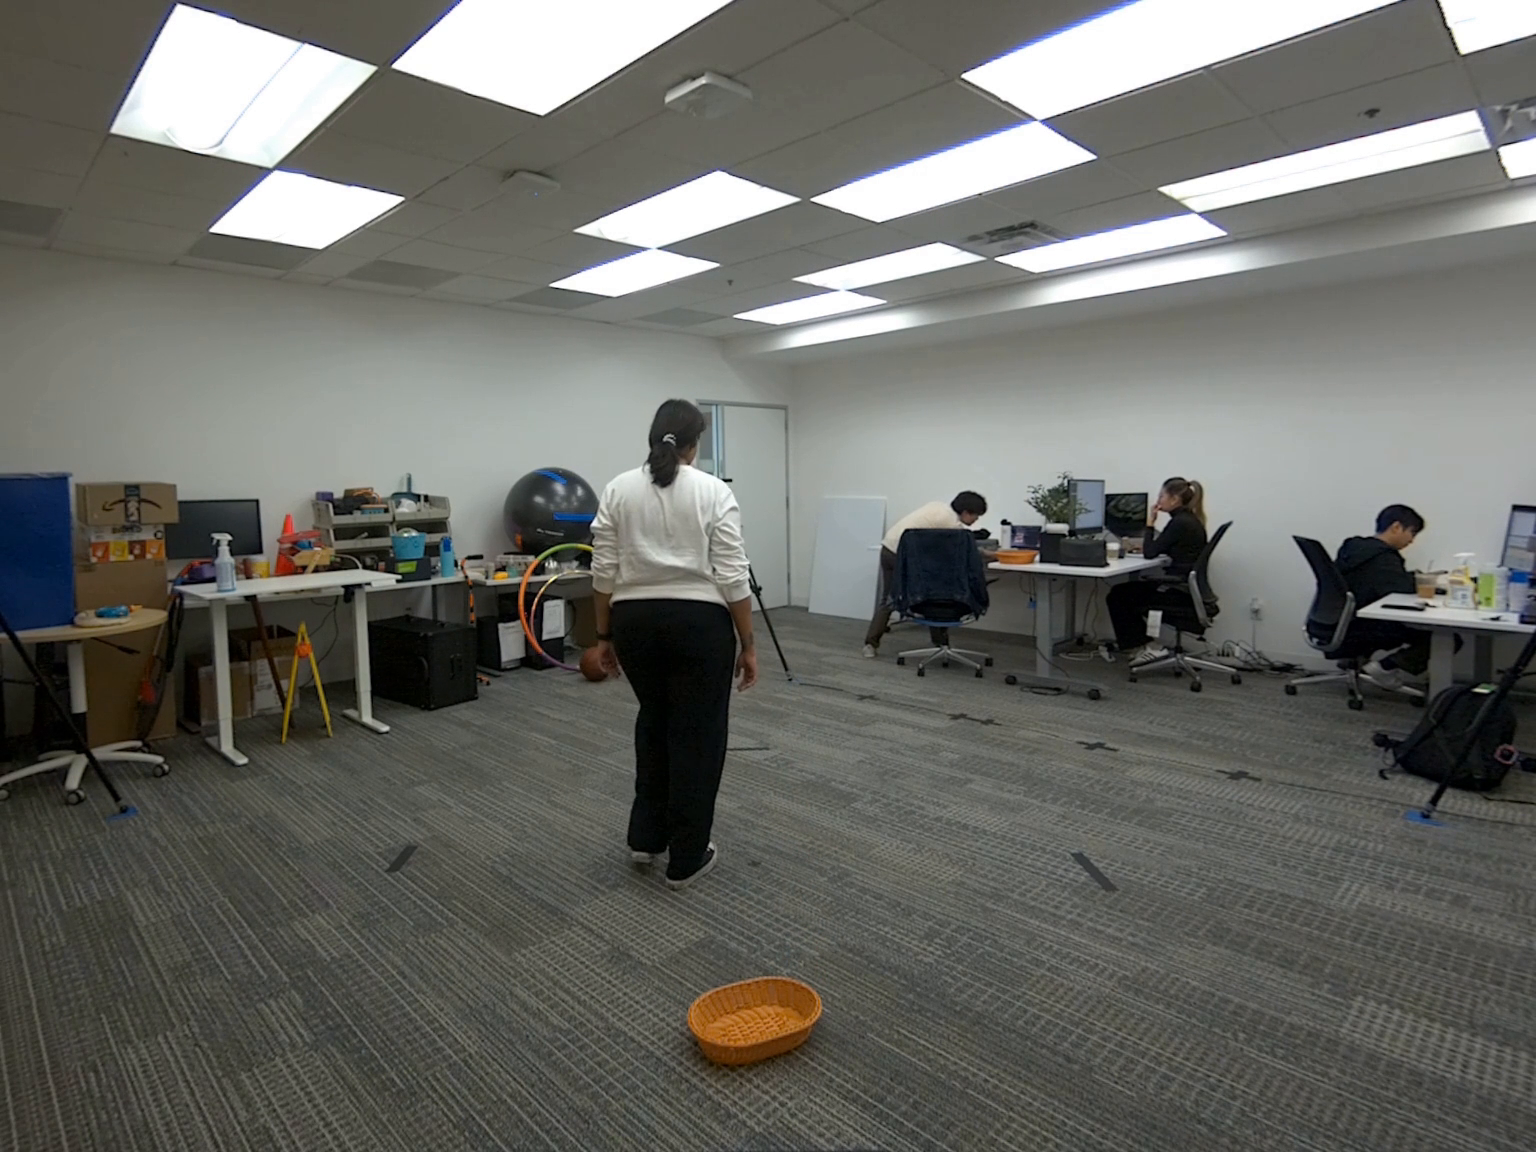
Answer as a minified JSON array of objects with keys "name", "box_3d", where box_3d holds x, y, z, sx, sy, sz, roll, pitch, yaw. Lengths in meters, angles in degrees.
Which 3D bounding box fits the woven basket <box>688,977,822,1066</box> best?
[{"name":"woven basket","box_3d":[-0.025,1.124,2.148,0.343,0.073,0.258,-5,6,-24]}]
